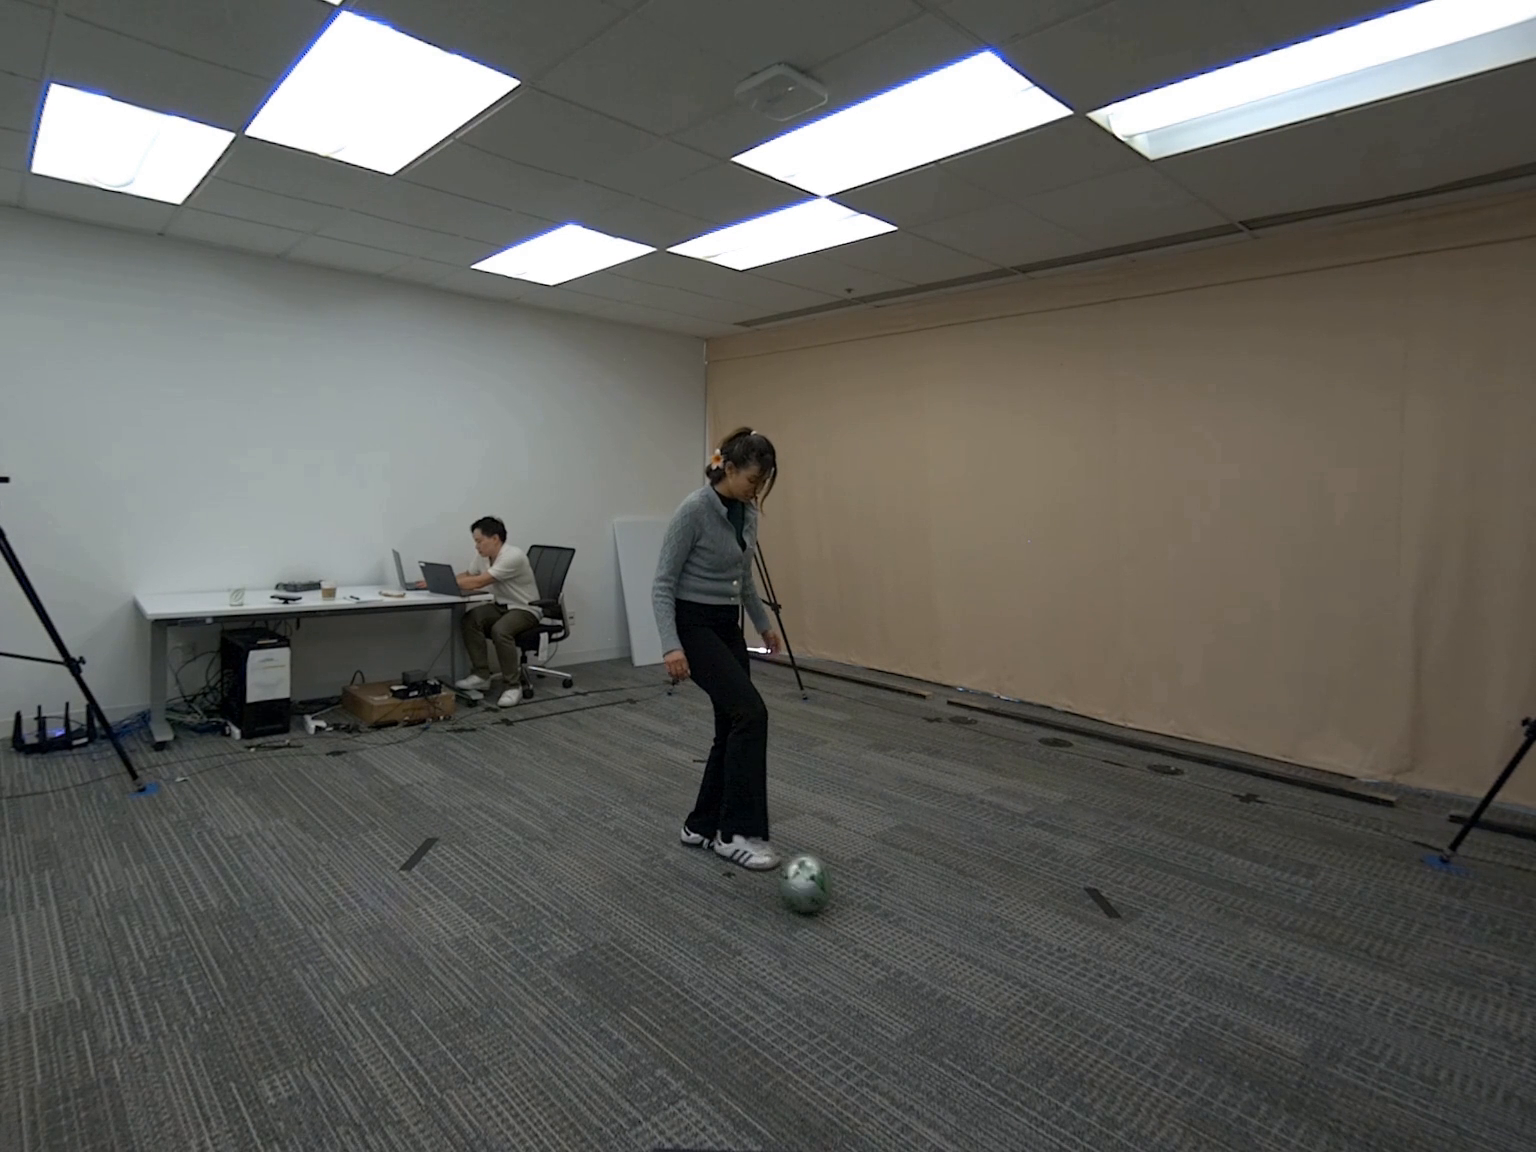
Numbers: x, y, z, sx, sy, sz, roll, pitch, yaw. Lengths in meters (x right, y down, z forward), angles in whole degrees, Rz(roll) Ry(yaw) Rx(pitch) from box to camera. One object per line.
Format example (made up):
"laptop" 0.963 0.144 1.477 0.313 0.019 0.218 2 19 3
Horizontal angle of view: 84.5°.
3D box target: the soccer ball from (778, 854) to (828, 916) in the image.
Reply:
"soccer ball" 0.103 1.035 2.847 0.187 0.187 0.188 1 4 -1
